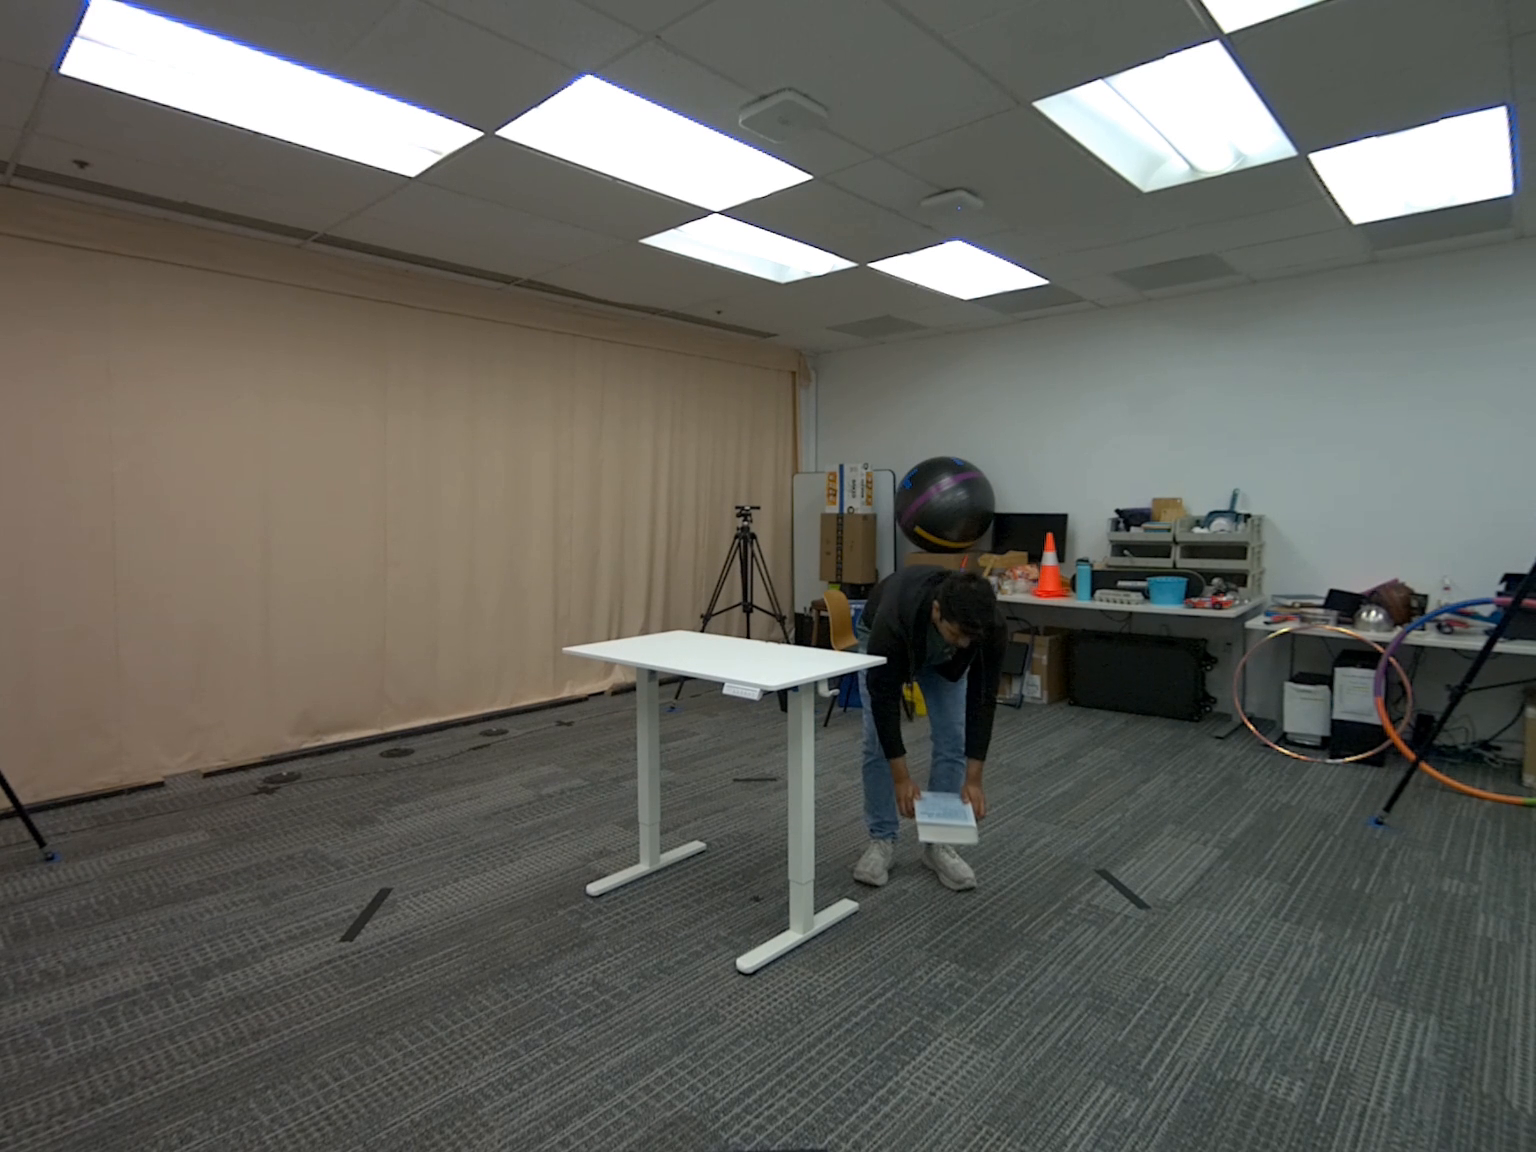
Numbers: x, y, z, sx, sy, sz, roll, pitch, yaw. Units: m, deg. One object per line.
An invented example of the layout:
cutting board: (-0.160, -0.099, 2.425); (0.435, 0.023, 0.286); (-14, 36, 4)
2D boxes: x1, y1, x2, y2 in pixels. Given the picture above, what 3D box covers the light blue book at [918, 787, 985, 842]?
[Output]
light blue book: (0.598, 0.780, 2.790); (0.194, 0.059, 0.258); (4, 6, 10)
